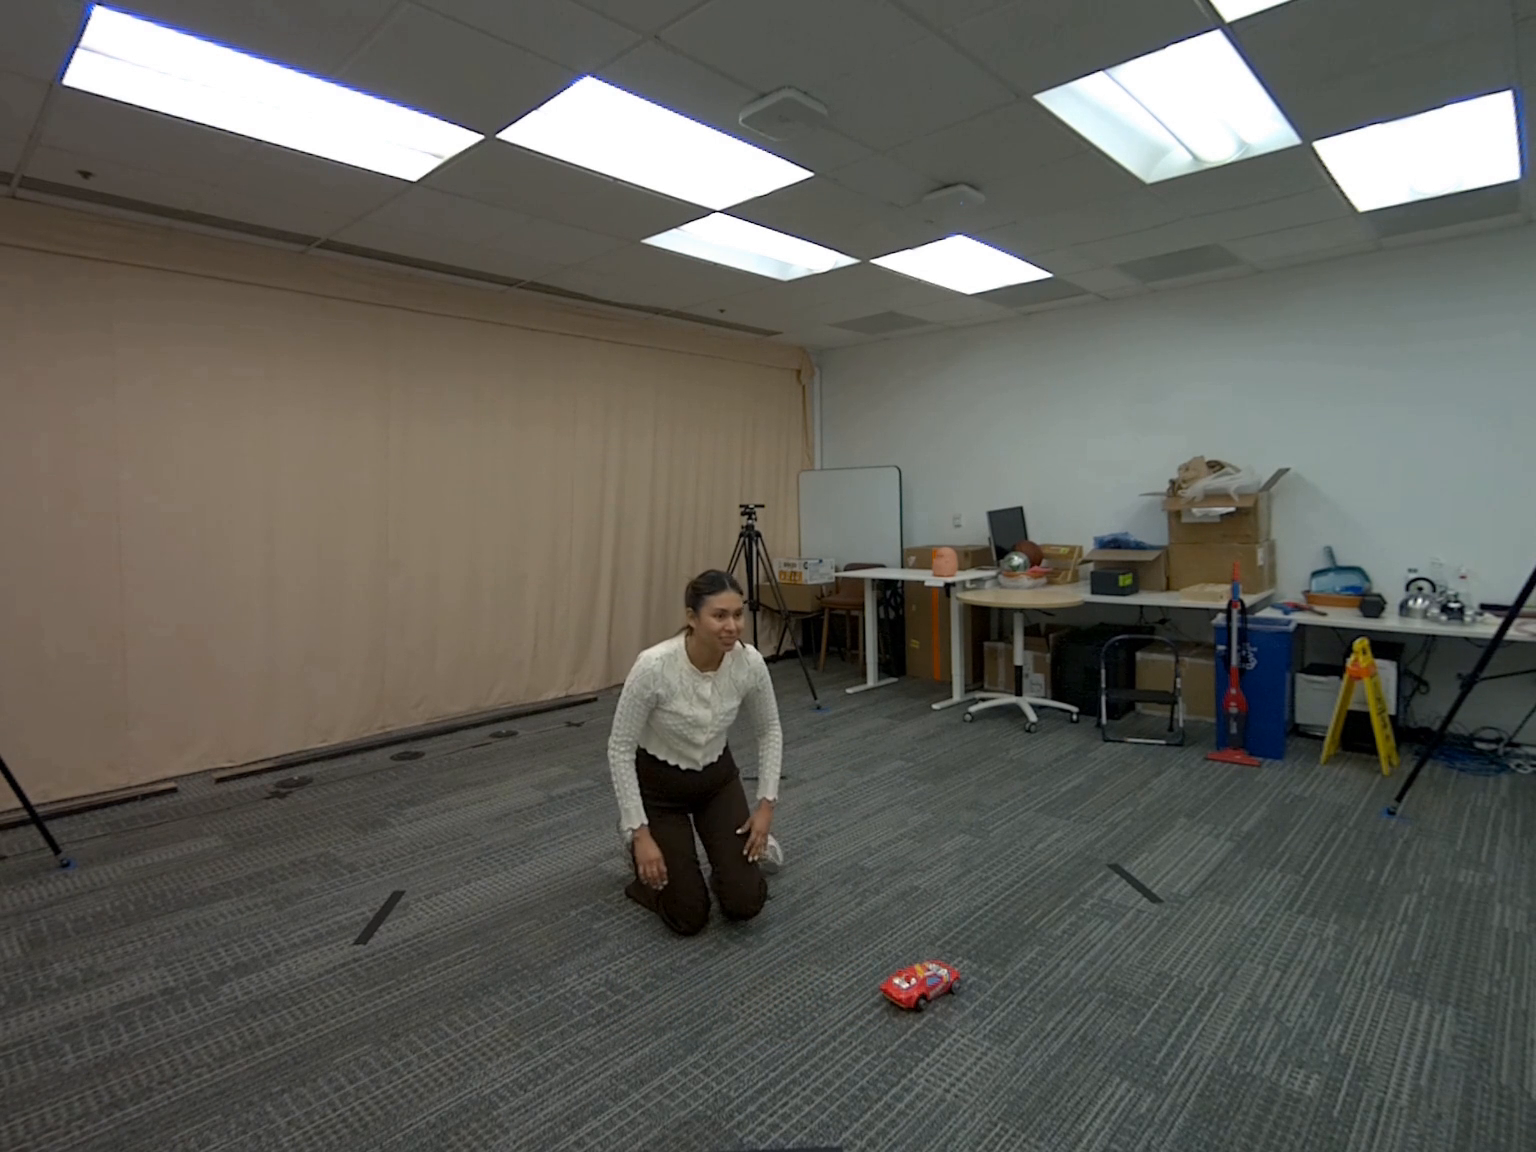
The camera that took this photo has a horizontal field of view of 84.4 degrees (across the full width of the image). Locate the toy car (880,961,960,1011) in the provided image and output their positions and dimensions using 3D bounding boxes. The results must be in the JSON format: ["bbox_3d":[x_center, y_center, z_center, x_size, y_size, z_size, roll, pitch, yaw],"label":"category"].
[{"bbox_3d":[0.431,1.152,2.369,0.246,0.083,0.134,10,-2,-35],"label":"toy car"}]
